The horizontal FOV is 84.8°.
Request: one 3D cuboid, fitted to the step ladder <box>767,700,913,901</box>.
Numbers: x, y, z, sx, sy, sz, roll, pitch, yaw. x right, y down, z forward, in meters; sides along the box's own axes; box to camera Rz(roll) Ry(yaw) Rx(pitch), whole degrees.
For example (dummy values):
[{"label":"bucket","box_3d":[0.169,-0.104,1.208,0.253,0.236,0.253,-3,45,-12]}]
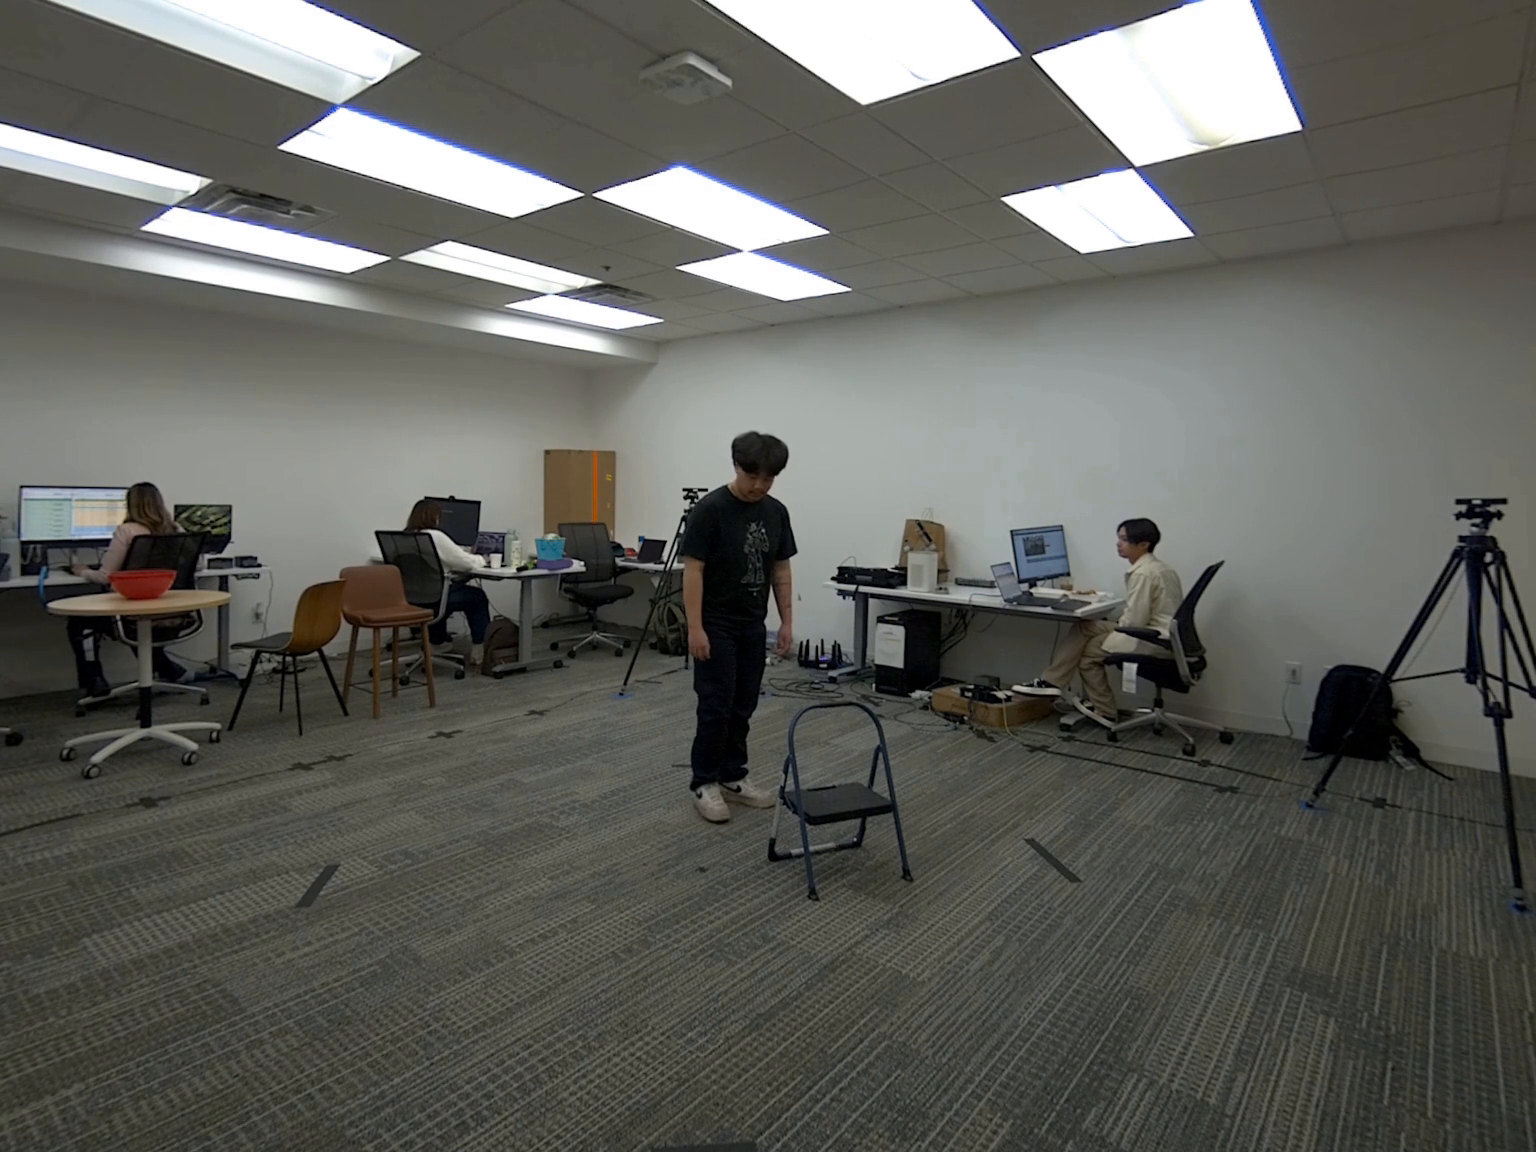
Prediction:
[{"label":"step ladder","box_3d":[0.259,0.774,3.118,0.420,0.604,0.359,0,3,-27]}]
